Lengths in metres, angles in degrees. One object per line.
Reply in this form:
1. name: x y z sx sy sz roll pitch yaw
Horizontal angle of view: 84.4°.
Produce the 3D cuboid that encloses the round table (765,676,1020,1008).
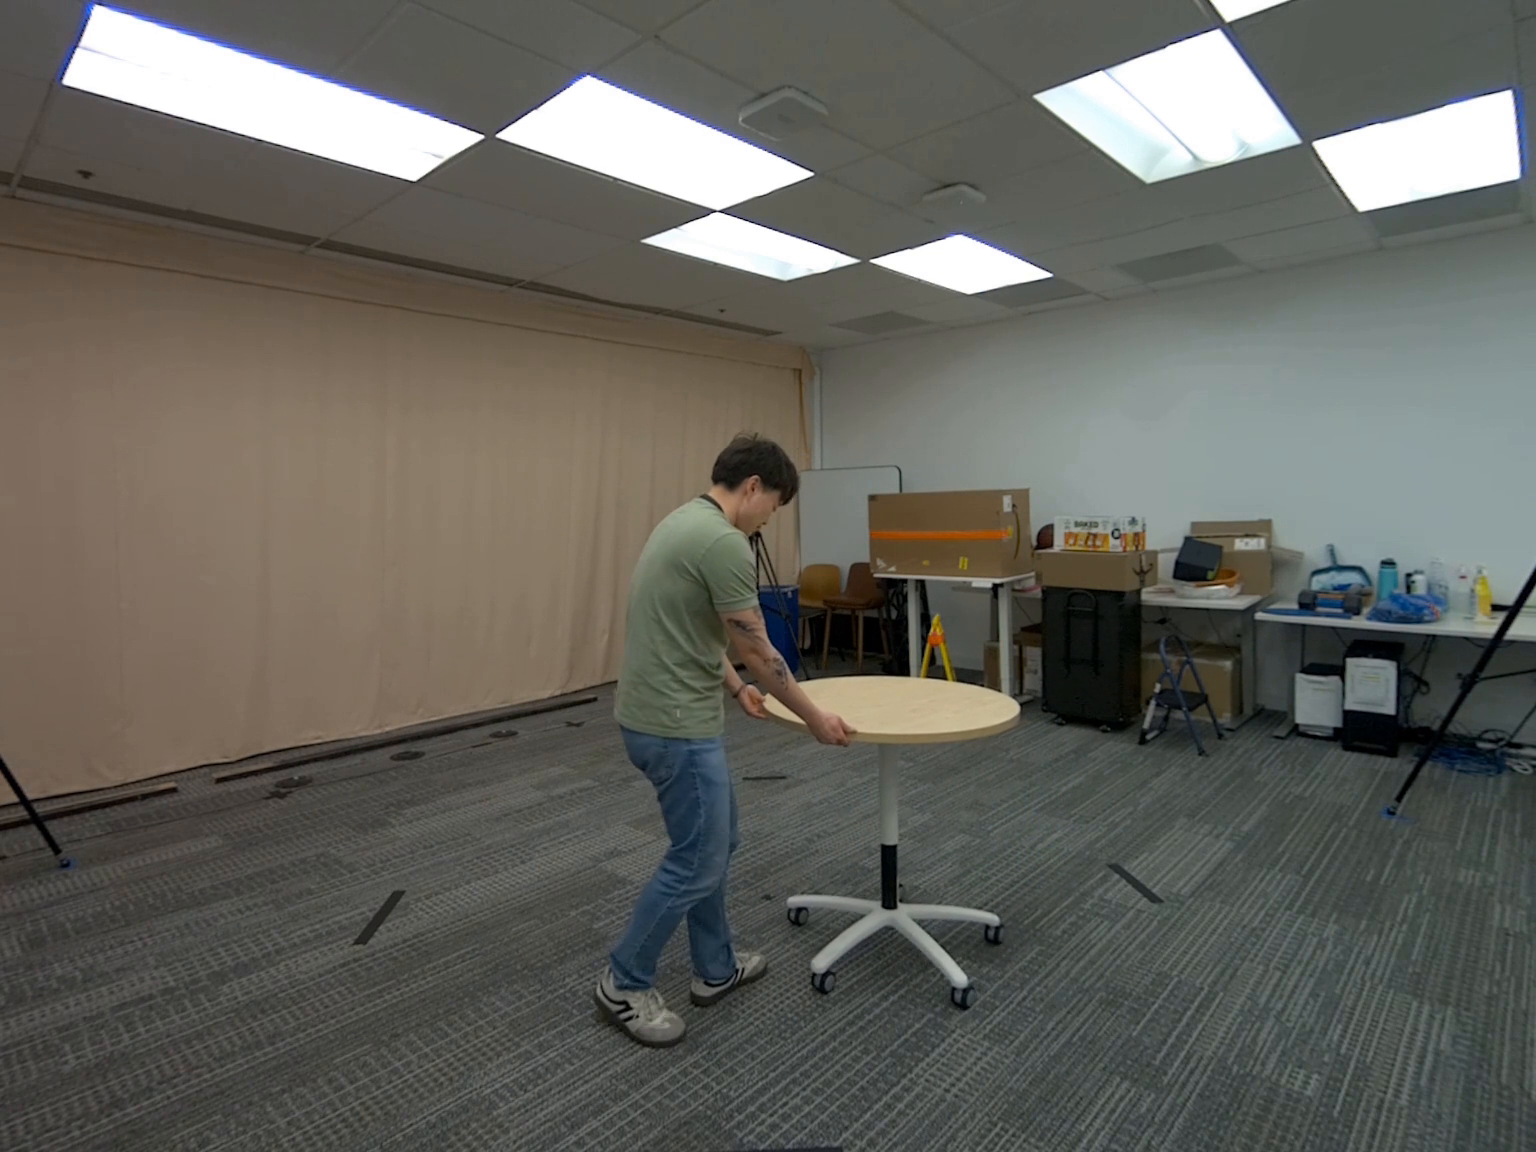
1. round table: 0.385 0.776 2.597 0.763 0.792 0.766 -1 4 -2
